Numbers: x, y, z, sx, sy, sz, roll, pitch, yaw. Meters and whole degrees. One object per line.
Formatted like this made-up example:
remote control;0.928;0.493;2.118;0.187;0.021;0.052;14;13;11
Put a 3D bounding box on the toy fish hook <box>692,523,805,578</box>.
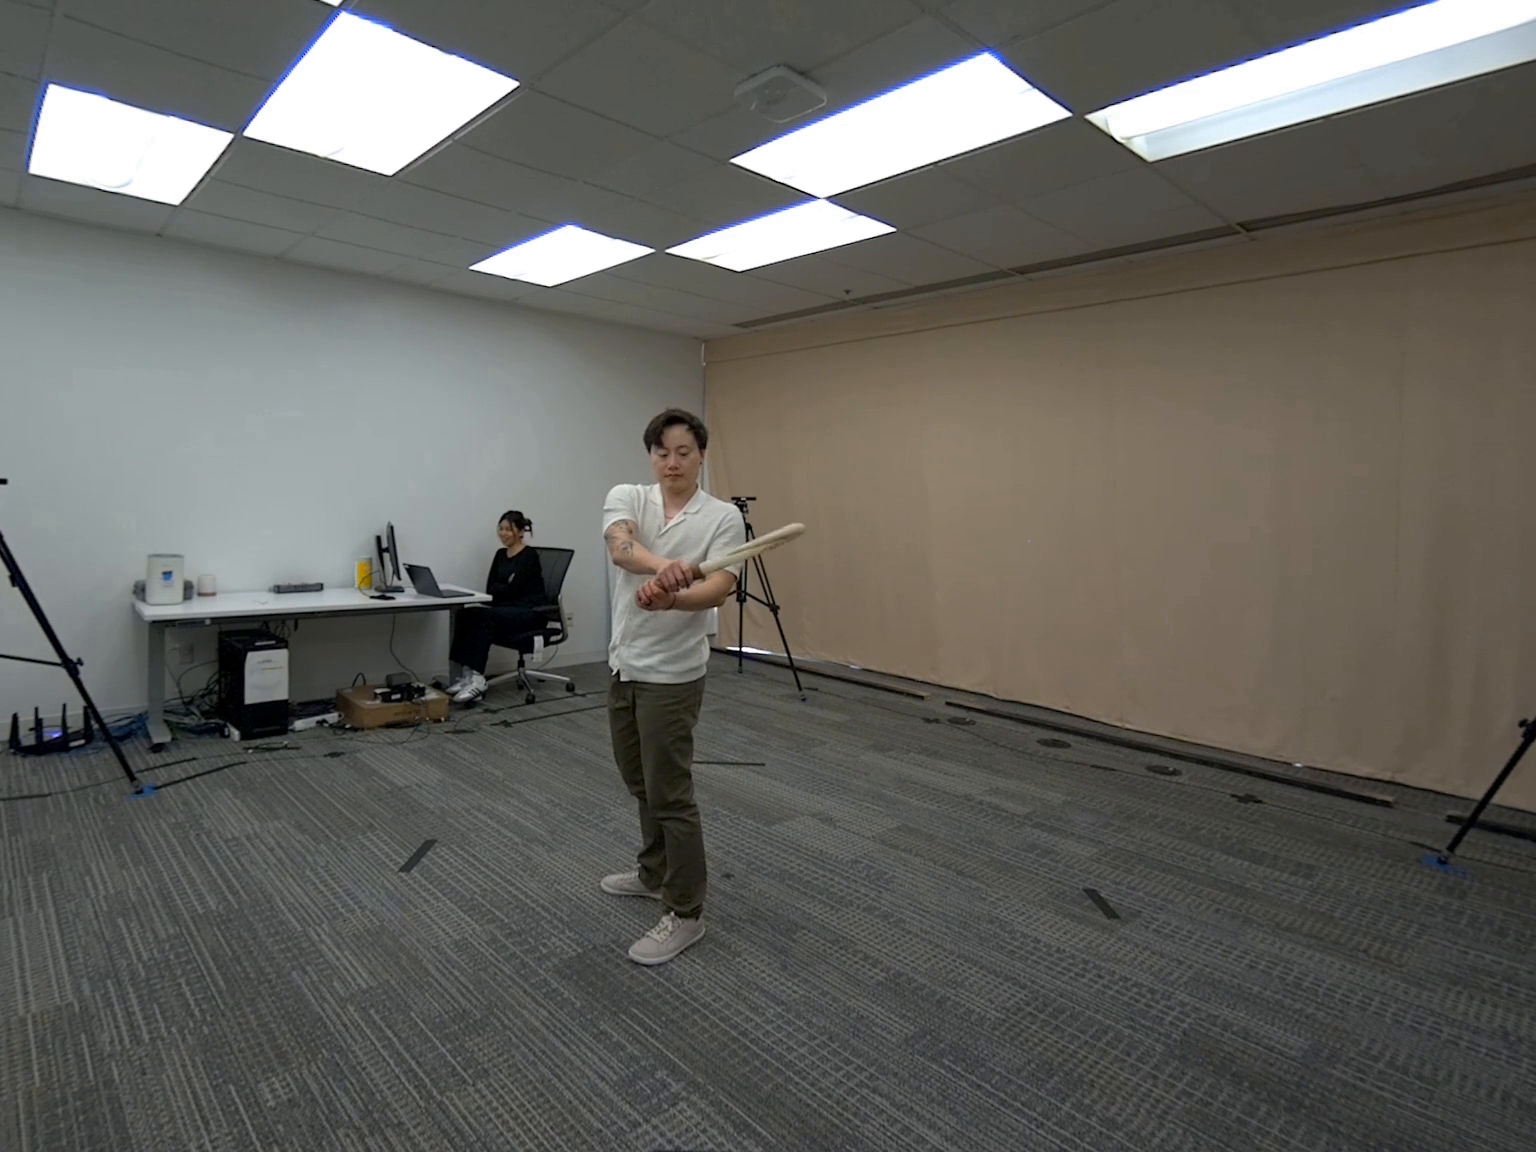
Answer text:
toy fish hook;-0.164;-0.034;2.203;0.509;0.049;0.221;-24;-6;13
